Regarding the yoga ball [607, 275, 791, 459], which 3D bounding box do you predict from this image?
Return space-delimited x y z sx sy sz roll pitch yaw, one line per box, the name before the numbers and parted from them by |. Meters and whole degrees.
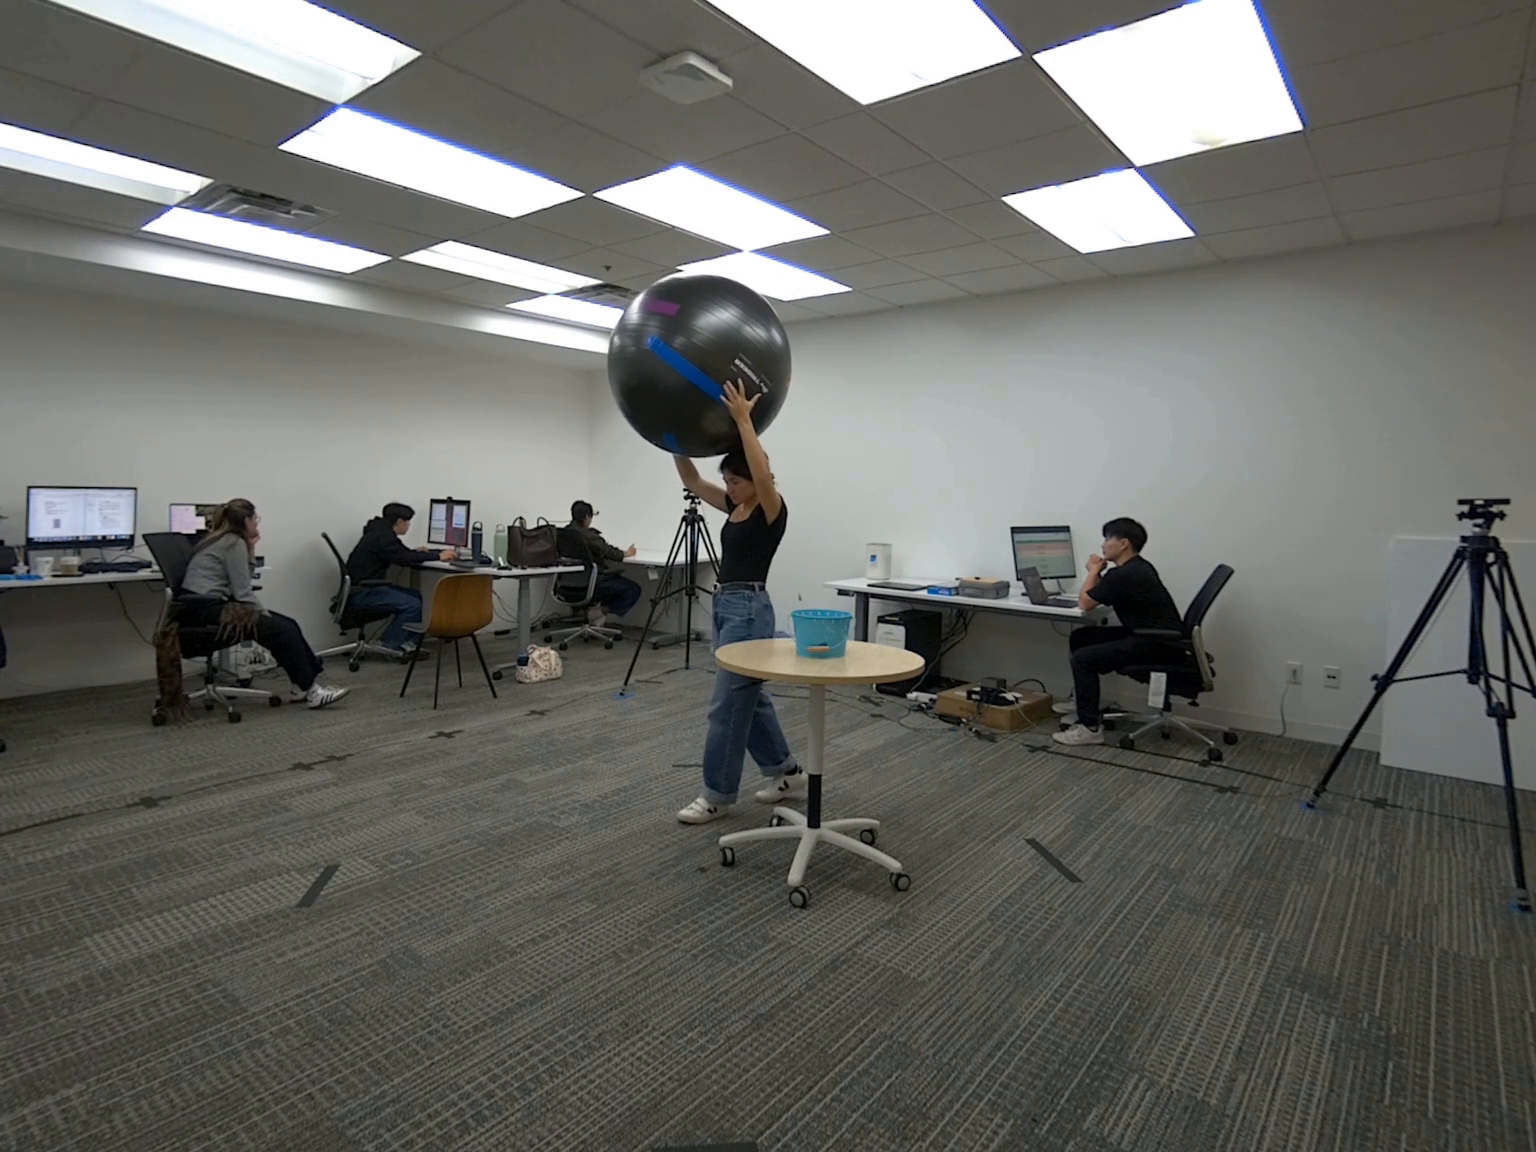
yoga ball | -0.297 -0.862 3.520 0.757 0.755 0.762 1 4 -2
